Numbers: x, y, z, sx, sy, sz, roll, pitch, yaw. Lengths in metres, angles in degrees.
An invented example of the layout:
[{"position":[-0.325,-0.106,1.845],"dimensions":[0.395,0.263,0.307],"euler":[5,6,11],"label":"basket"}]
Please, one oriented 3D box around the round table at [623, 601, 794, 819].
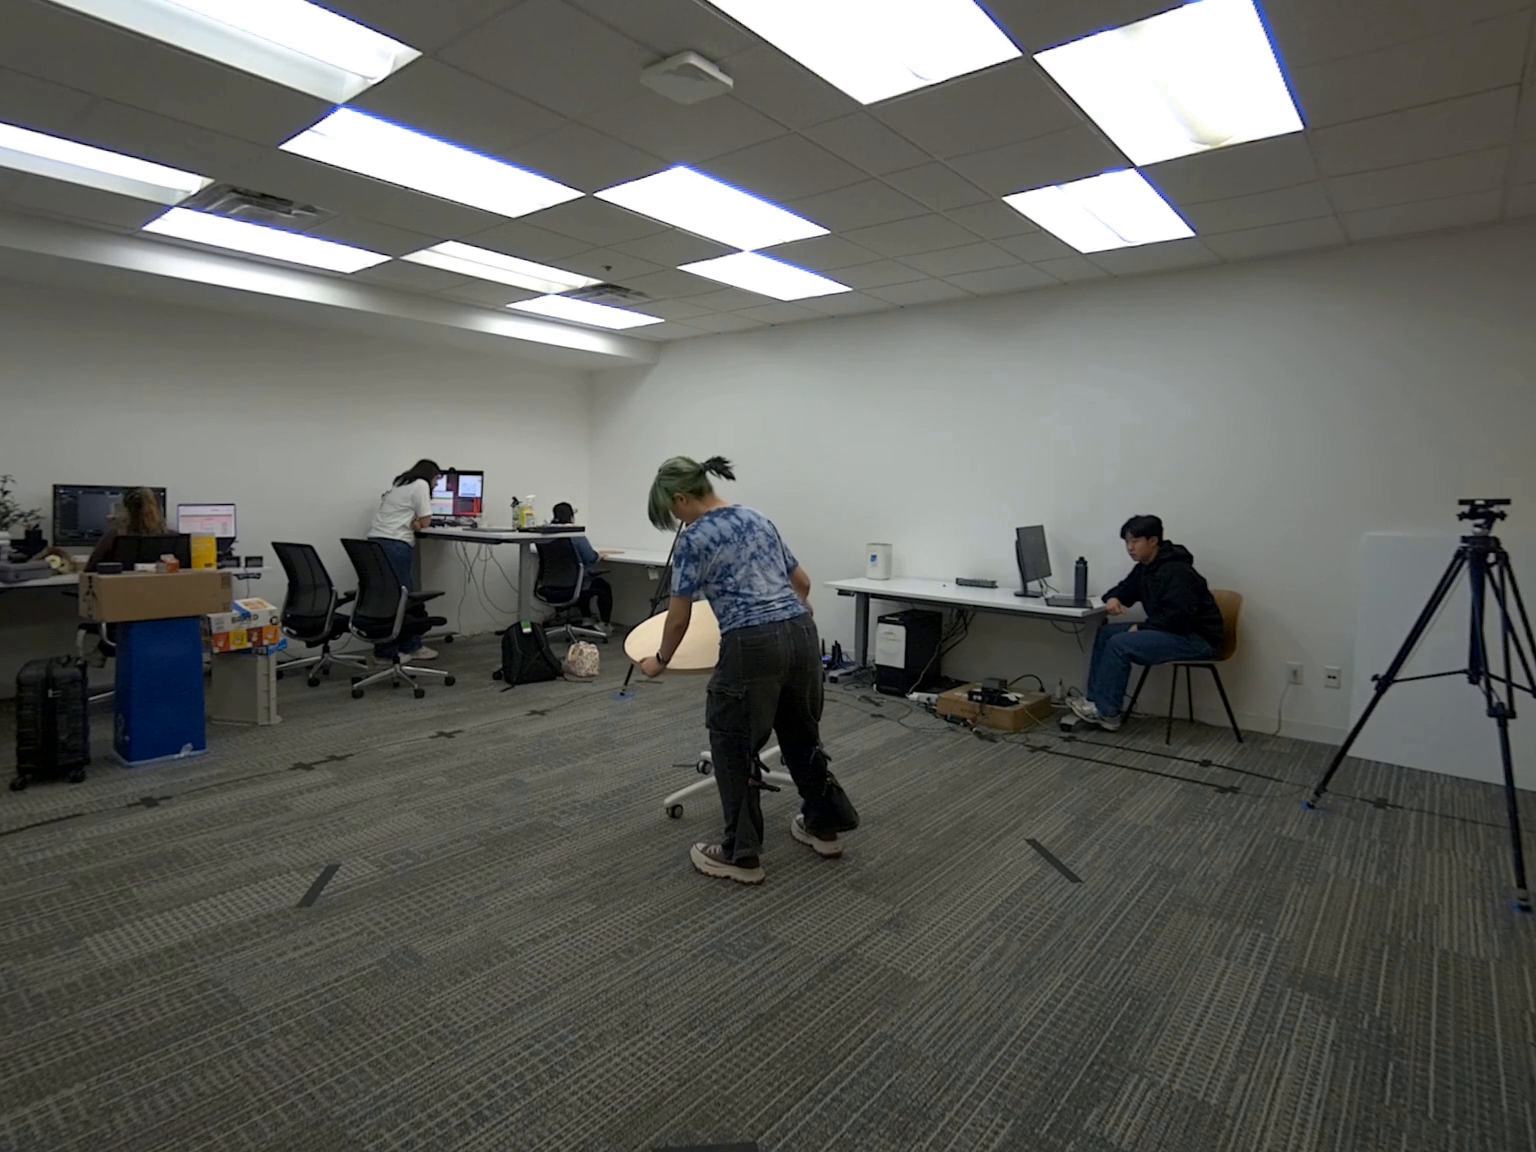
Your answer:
[{"position":[-0.169,0.587,3.570],"dimensions":[0.765,0.781,0.776],"euler":[-9,15,1],"label":"round table"}]
